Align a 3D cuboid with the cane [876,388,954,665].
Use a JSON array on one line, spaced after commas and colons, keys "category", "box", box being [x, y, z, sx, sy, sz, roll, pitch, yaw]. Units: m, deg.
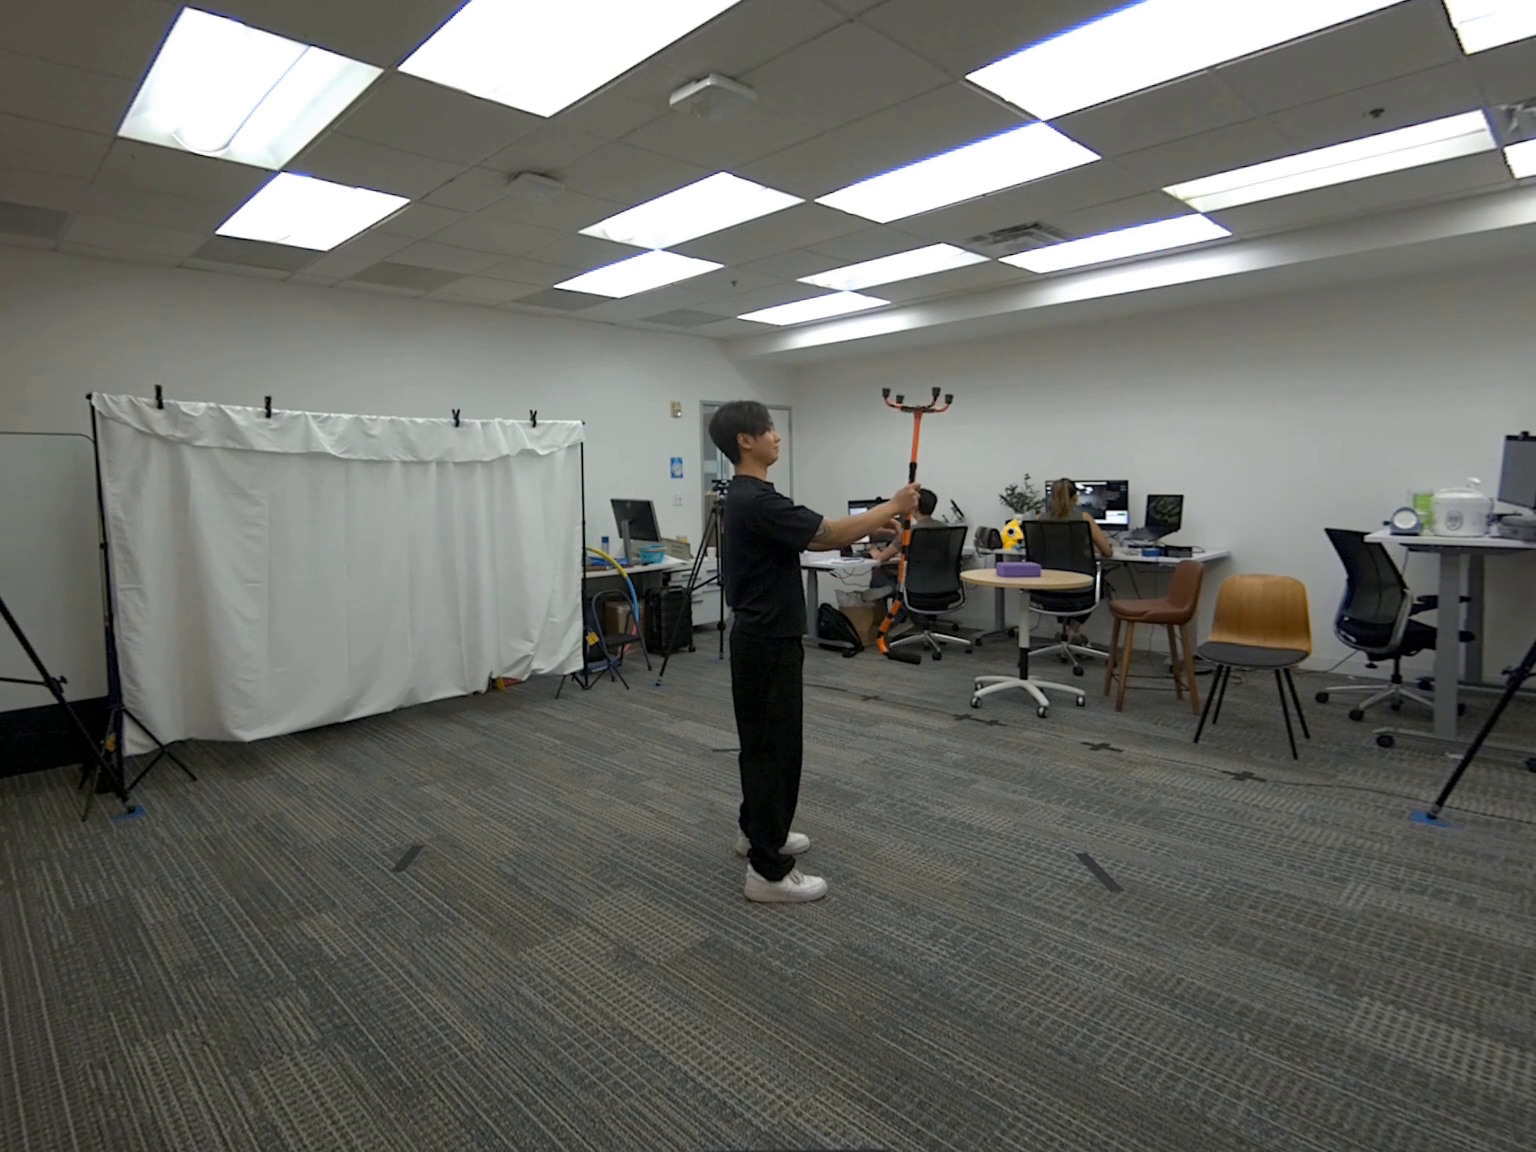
[{"category": "cane", "box": [0.464, -0.169, 2.883, 0.213, 0.908, 0.147, 7, 0, 35]}]
